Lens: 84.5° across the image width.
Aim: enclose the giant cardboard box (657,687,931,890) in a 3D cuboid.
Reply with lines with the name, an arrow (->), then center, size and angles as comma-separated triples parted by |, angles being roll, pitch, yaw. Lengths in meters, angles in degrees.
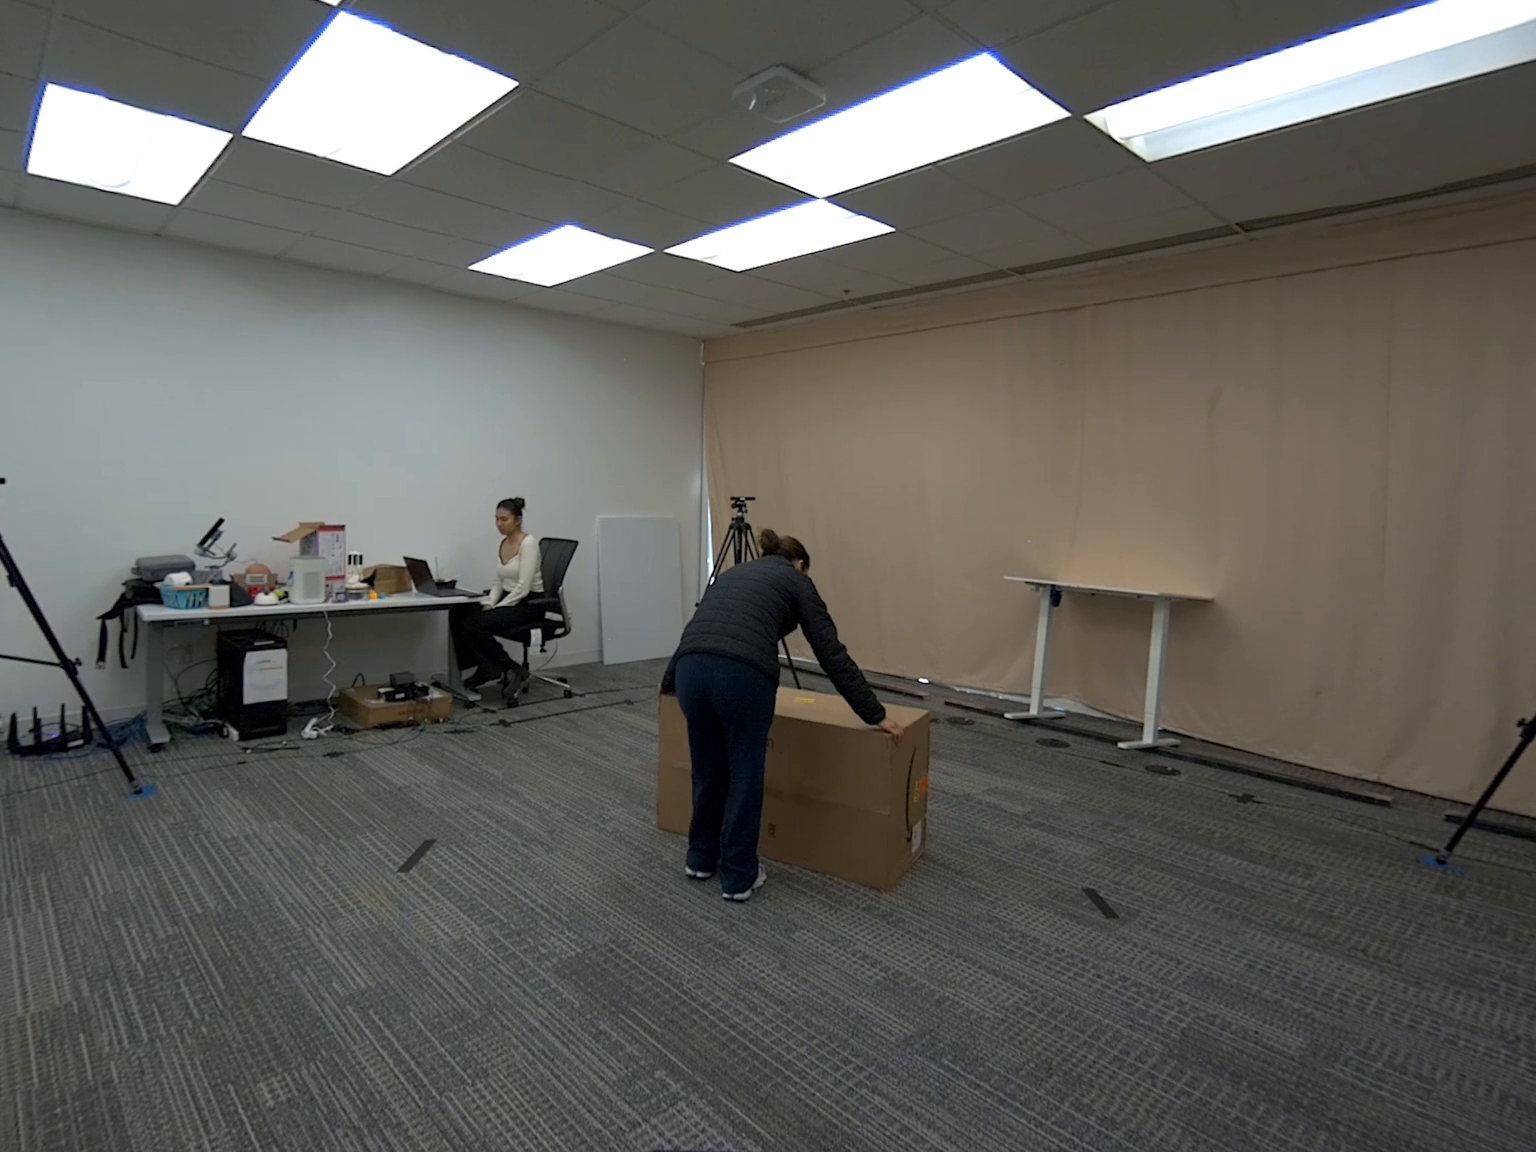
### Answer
giant cardboard box -> 0.089, 0.796, 3.420 | 1.049, 0.582, 0.438 | 4, 5, 29
